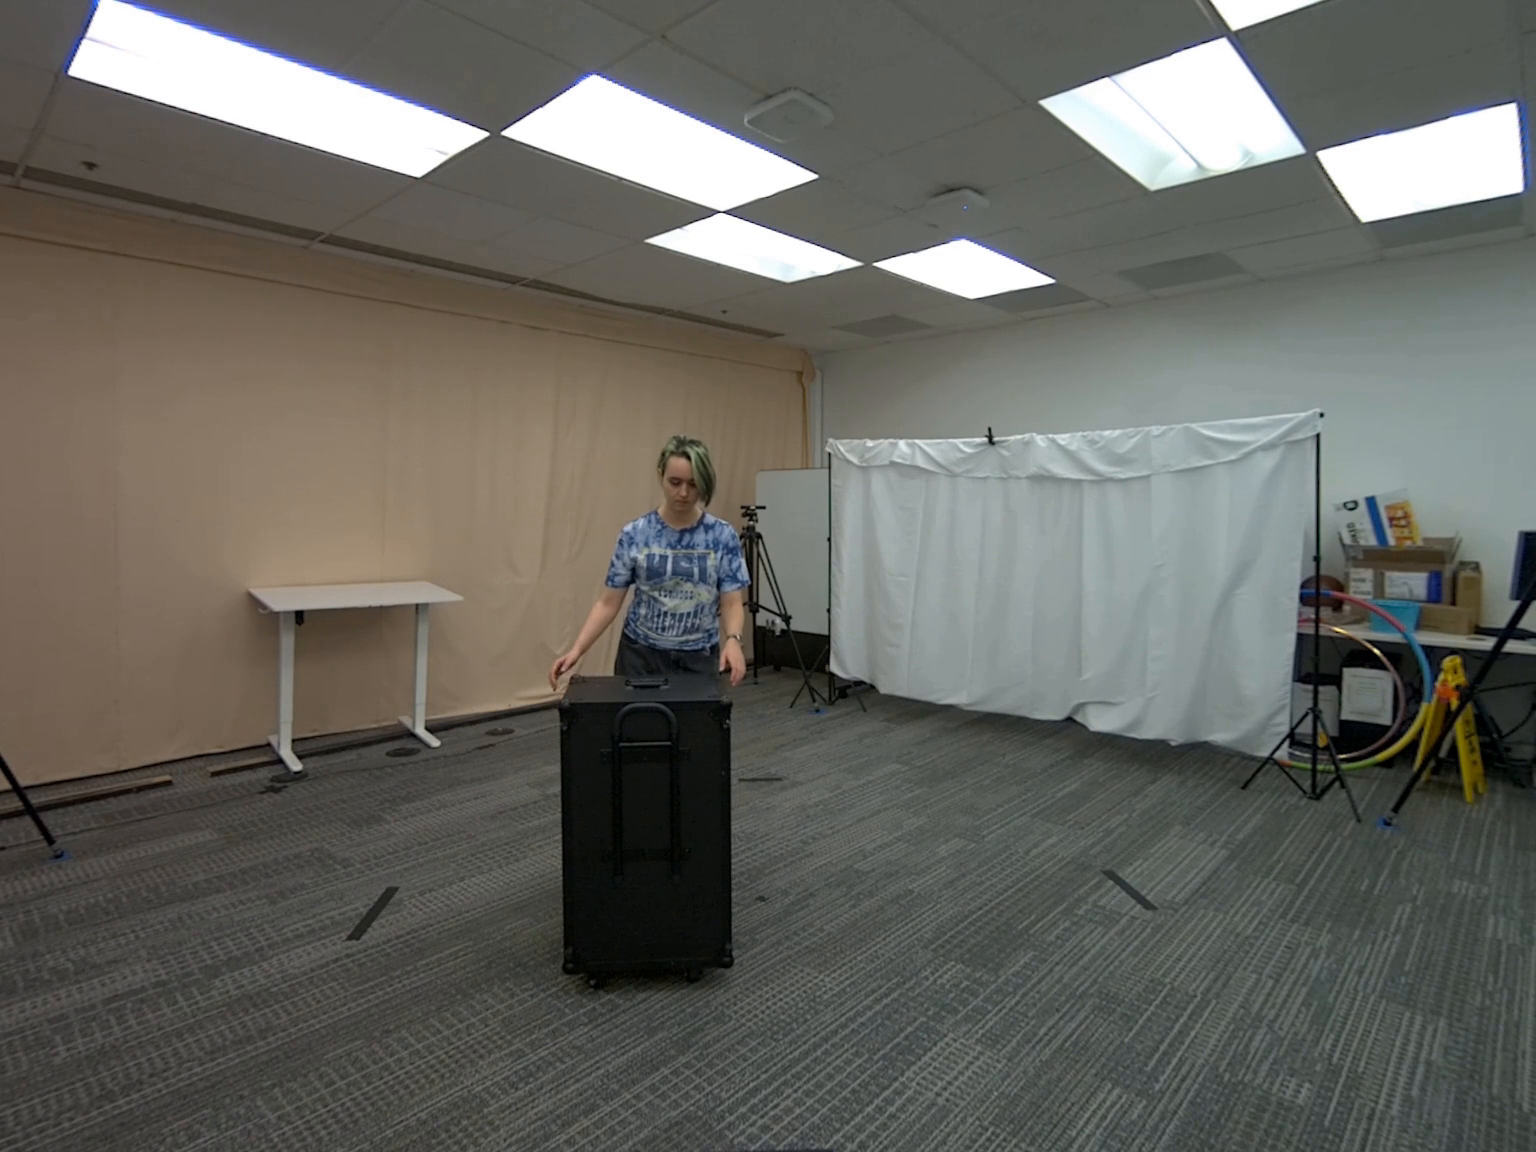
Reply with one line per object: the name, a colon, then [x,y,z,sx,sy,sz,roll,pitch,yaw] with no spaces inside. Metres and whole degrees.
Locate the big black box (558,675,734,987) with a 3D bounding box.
big black box: [-0.355,0.761,2.538,0.518,0.859,0.400,0,4,-6]
